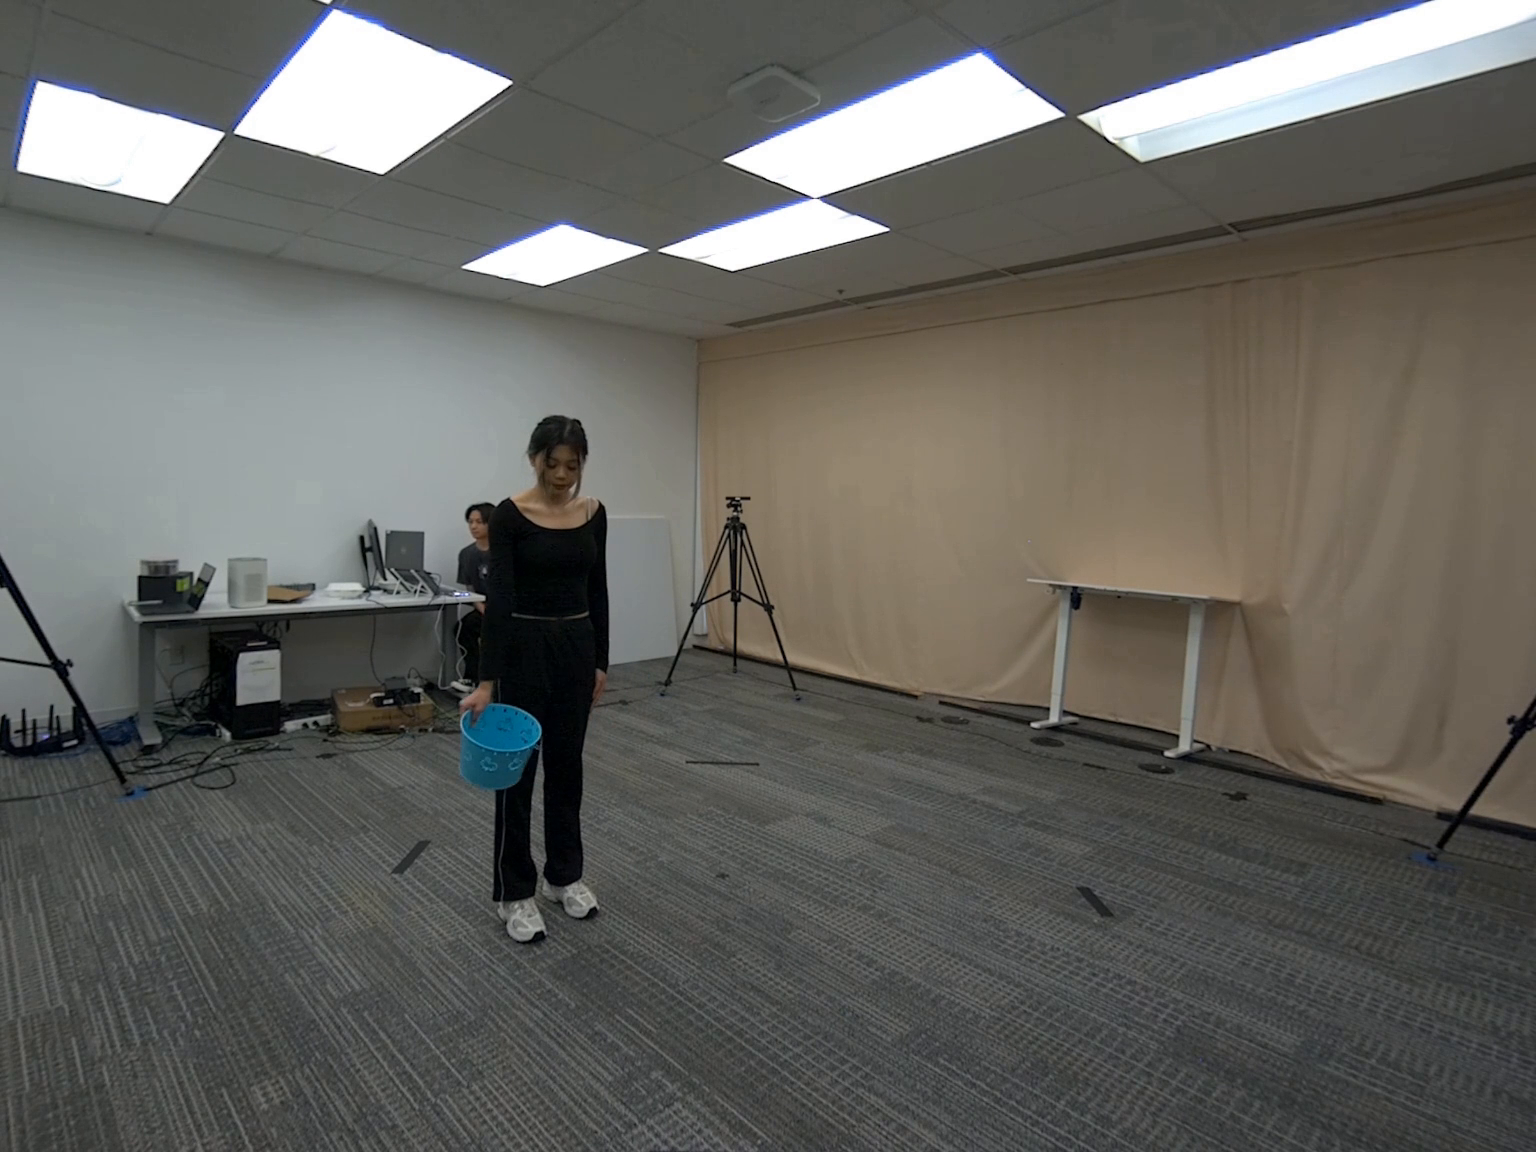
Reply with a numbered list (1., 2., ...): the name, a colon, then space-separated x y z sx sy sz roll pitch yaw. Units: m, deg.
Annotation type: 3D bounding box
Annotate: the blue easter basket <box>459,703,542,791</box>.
1. blue easter basket: -0.799 0.505 2.440 0.242 0.154 0.247 15 19 -7
